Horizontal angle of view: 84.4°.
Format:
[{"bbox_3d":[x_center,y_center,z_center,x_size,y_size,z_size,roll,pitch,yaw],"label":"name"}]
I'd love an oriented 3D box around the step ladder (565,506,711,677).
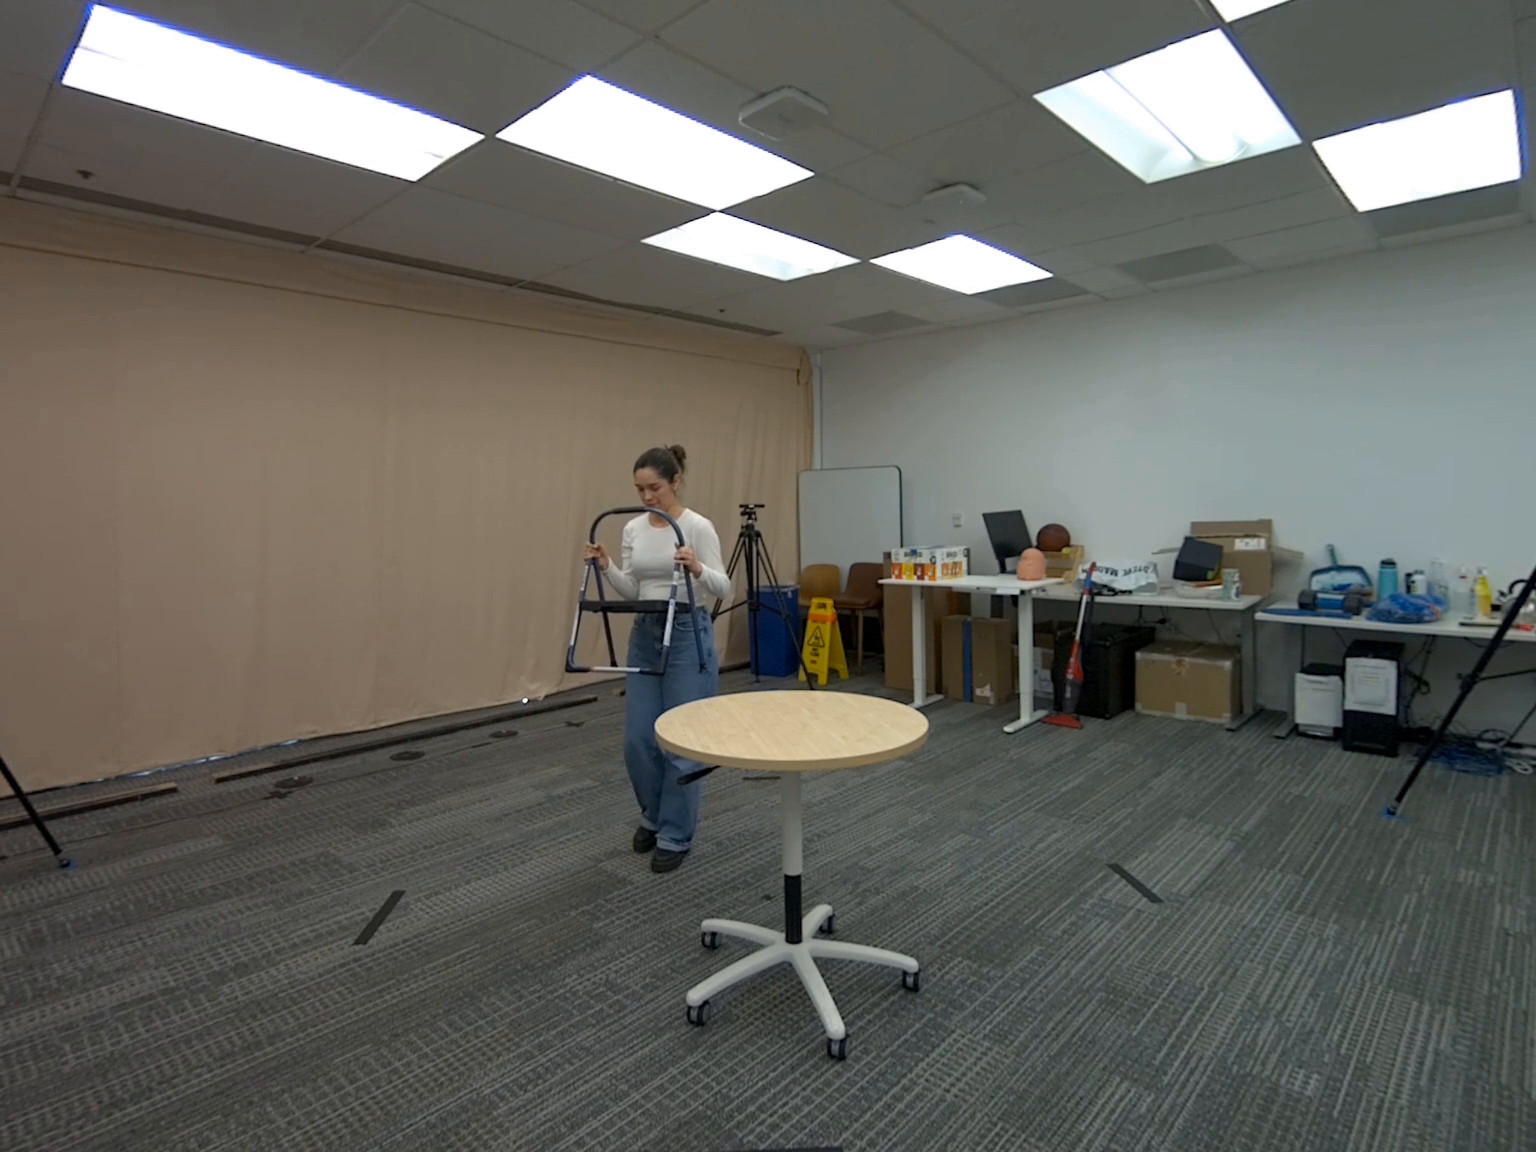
[{"bbox_3d":[-0.484,0.053,3.140,0.441,0.608,0.340,-2,-4,23],"label":"step ladder"}]
